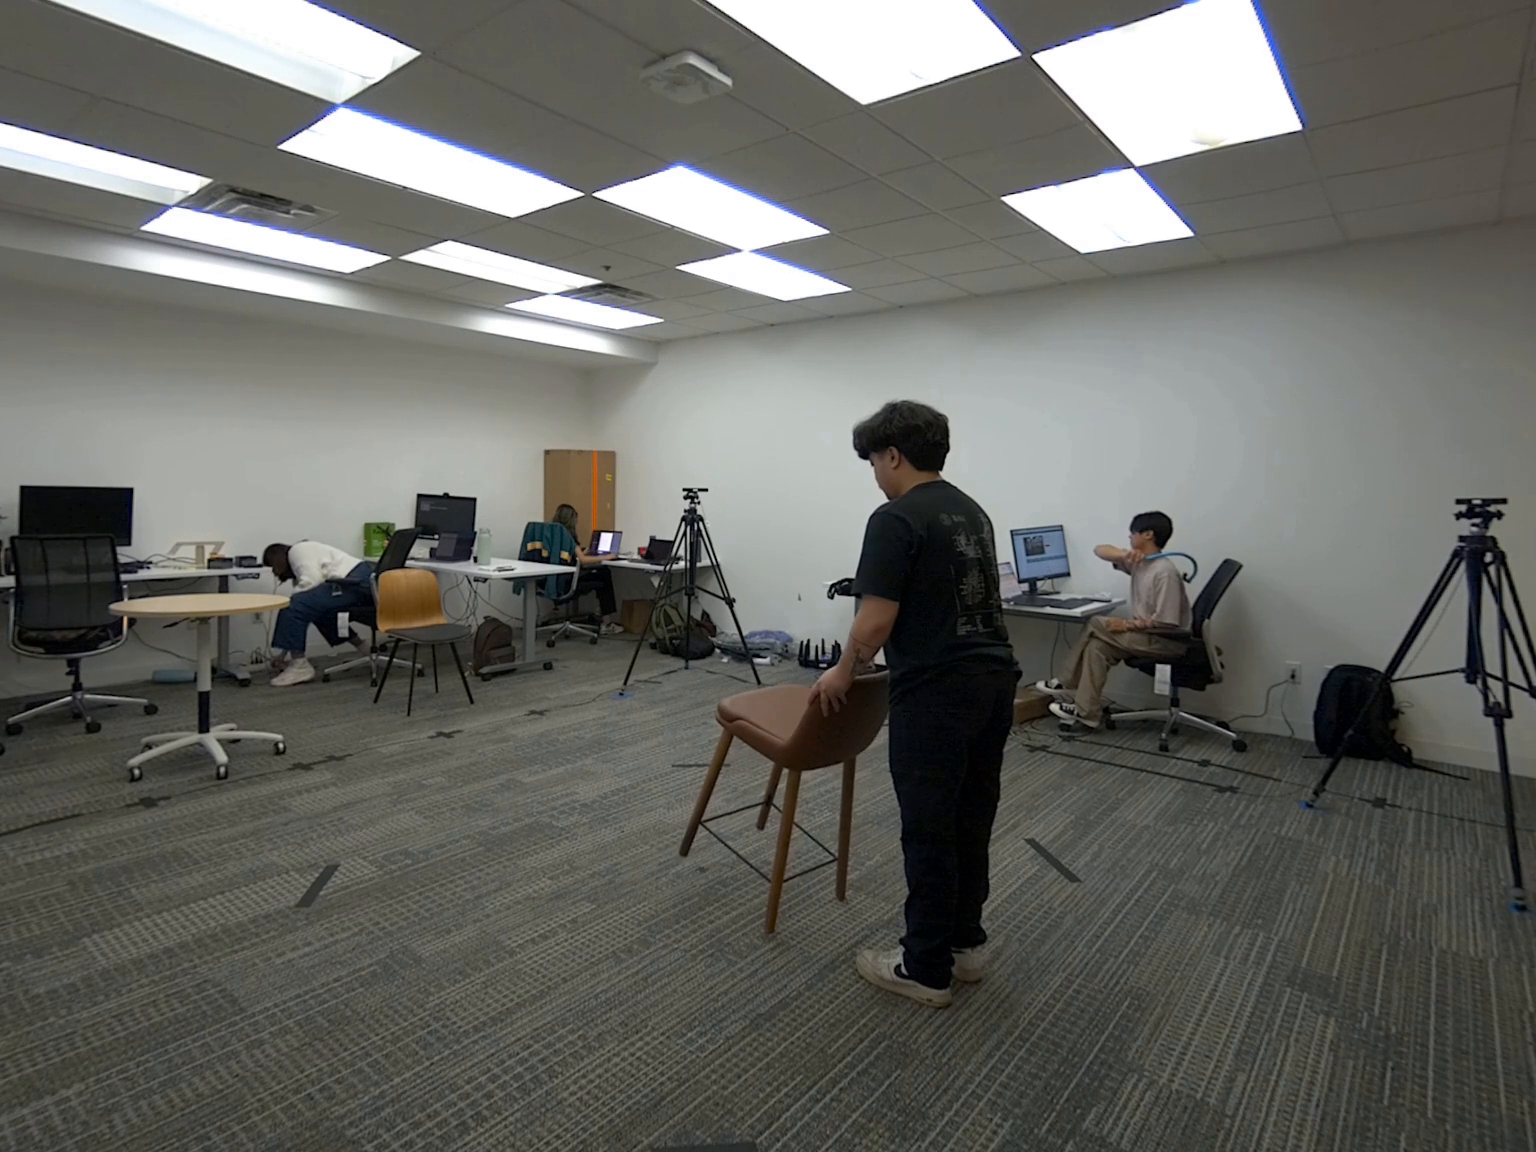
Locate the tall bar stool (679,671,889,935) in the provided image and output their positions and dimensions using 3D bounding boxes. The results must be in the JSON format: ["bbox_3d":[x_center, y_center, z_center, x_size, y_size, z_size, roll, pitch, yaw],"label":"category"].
[{"bbox_3d":[0.074,0.627,2.833,0.442,0.880,0.487,-1,21,-44],"label":"tall bar stool"}]
